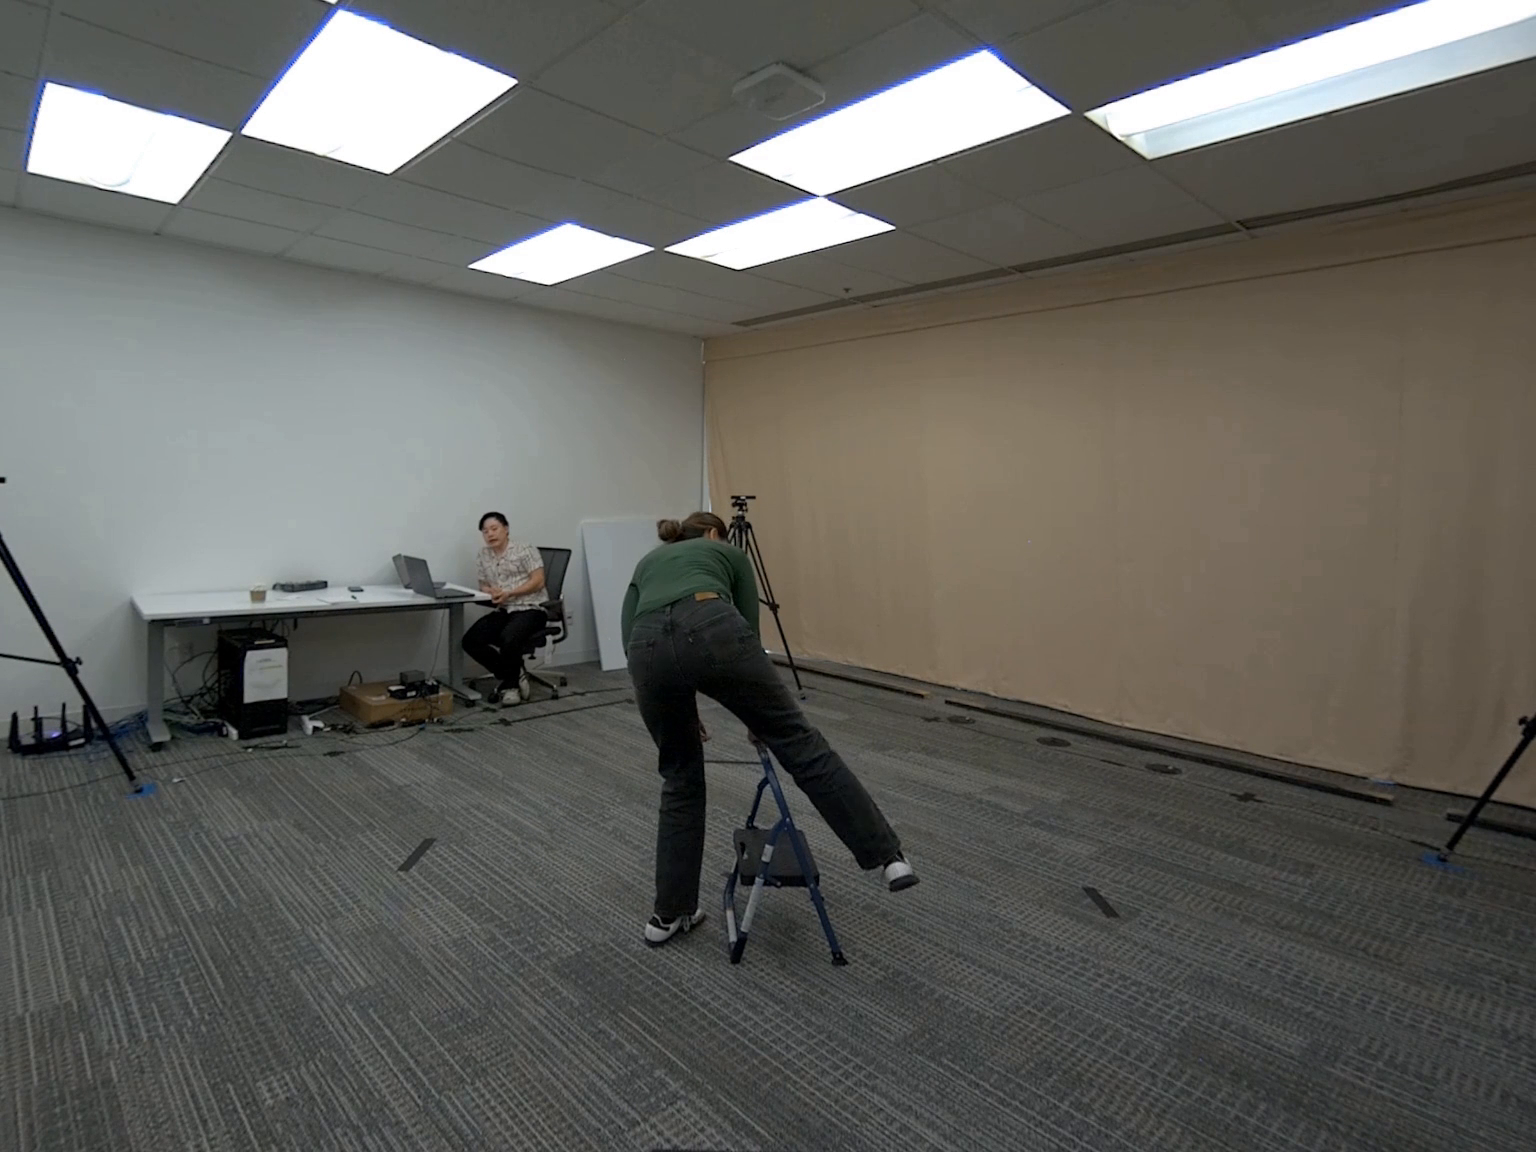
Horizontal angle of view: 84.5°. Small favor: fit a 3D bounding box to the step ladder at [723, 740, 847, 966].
[{"bbox_3d":[0.039,0.844,2.700,0.348,0.604,0.433,1,4,-5],"label":"step ladder"}]
